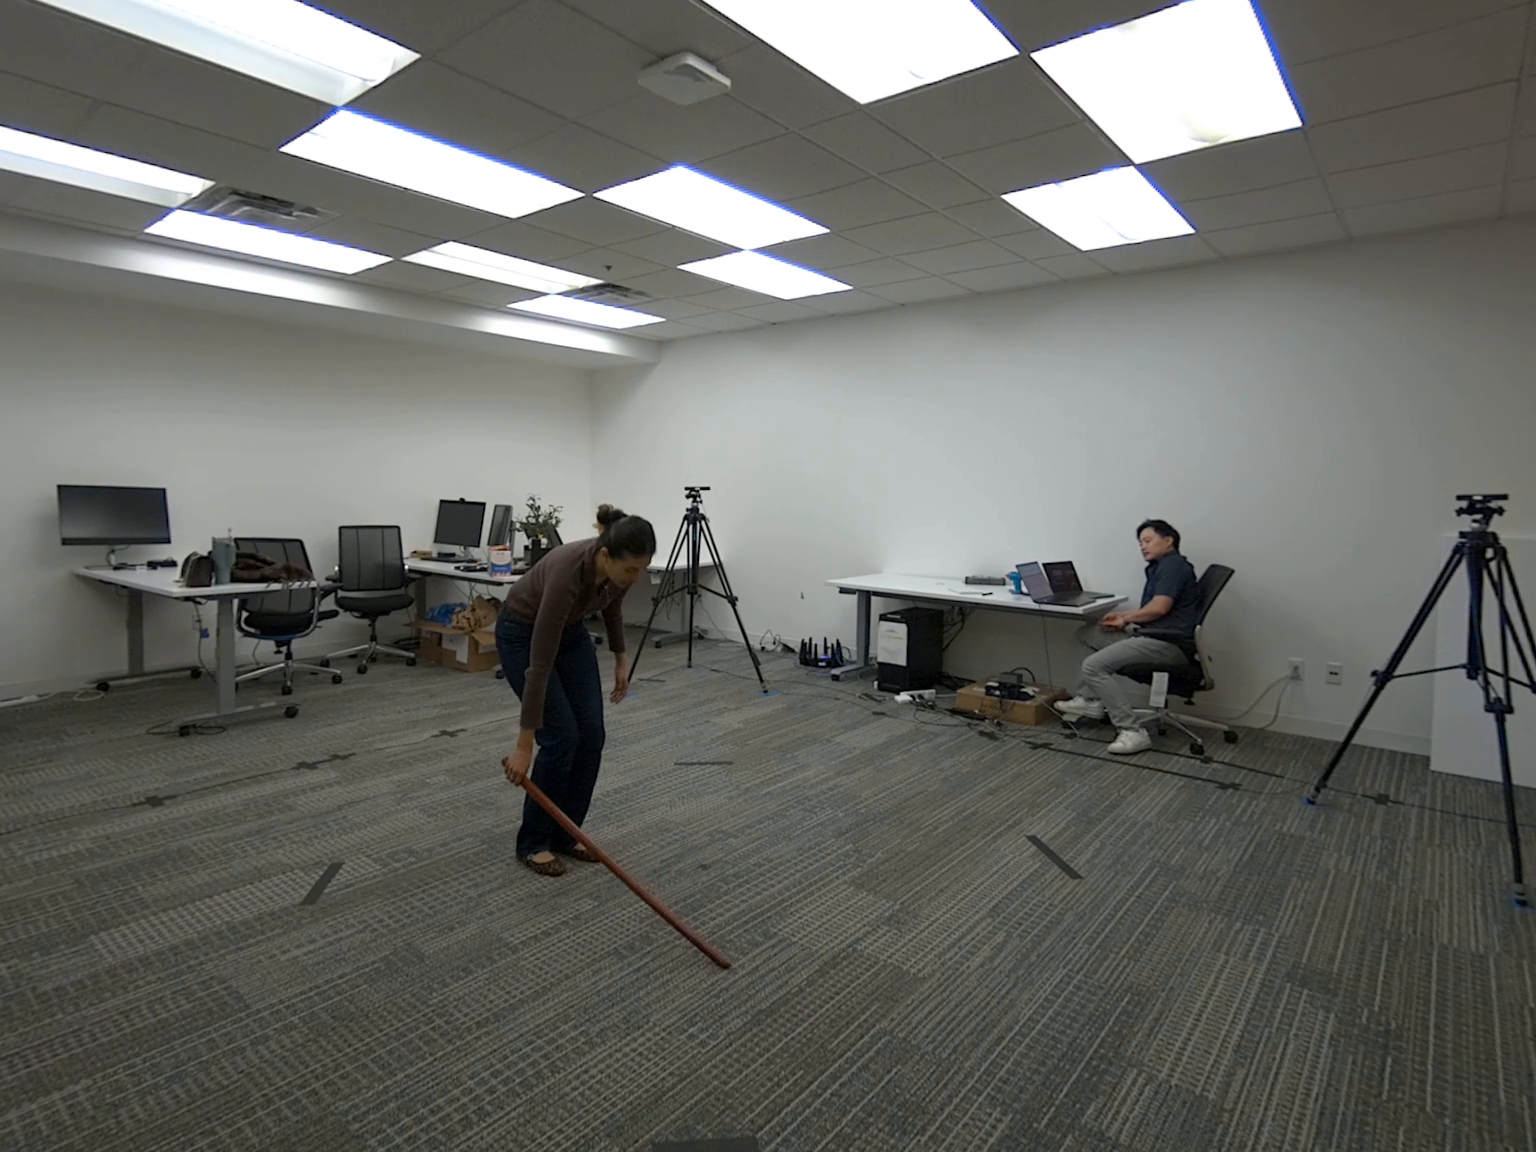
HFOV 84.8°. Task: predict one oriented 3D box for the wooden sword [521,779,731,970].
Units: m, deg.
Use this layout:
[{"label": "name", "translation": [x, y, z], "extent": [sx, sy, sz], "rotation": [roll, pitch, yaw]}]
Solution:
[{"label": "wooden sword", "translation": [-0.515, 0.894, 2.690], "extent": [1.060, 0.023, 0.051], "rotation": [30, 55, 27]}]
